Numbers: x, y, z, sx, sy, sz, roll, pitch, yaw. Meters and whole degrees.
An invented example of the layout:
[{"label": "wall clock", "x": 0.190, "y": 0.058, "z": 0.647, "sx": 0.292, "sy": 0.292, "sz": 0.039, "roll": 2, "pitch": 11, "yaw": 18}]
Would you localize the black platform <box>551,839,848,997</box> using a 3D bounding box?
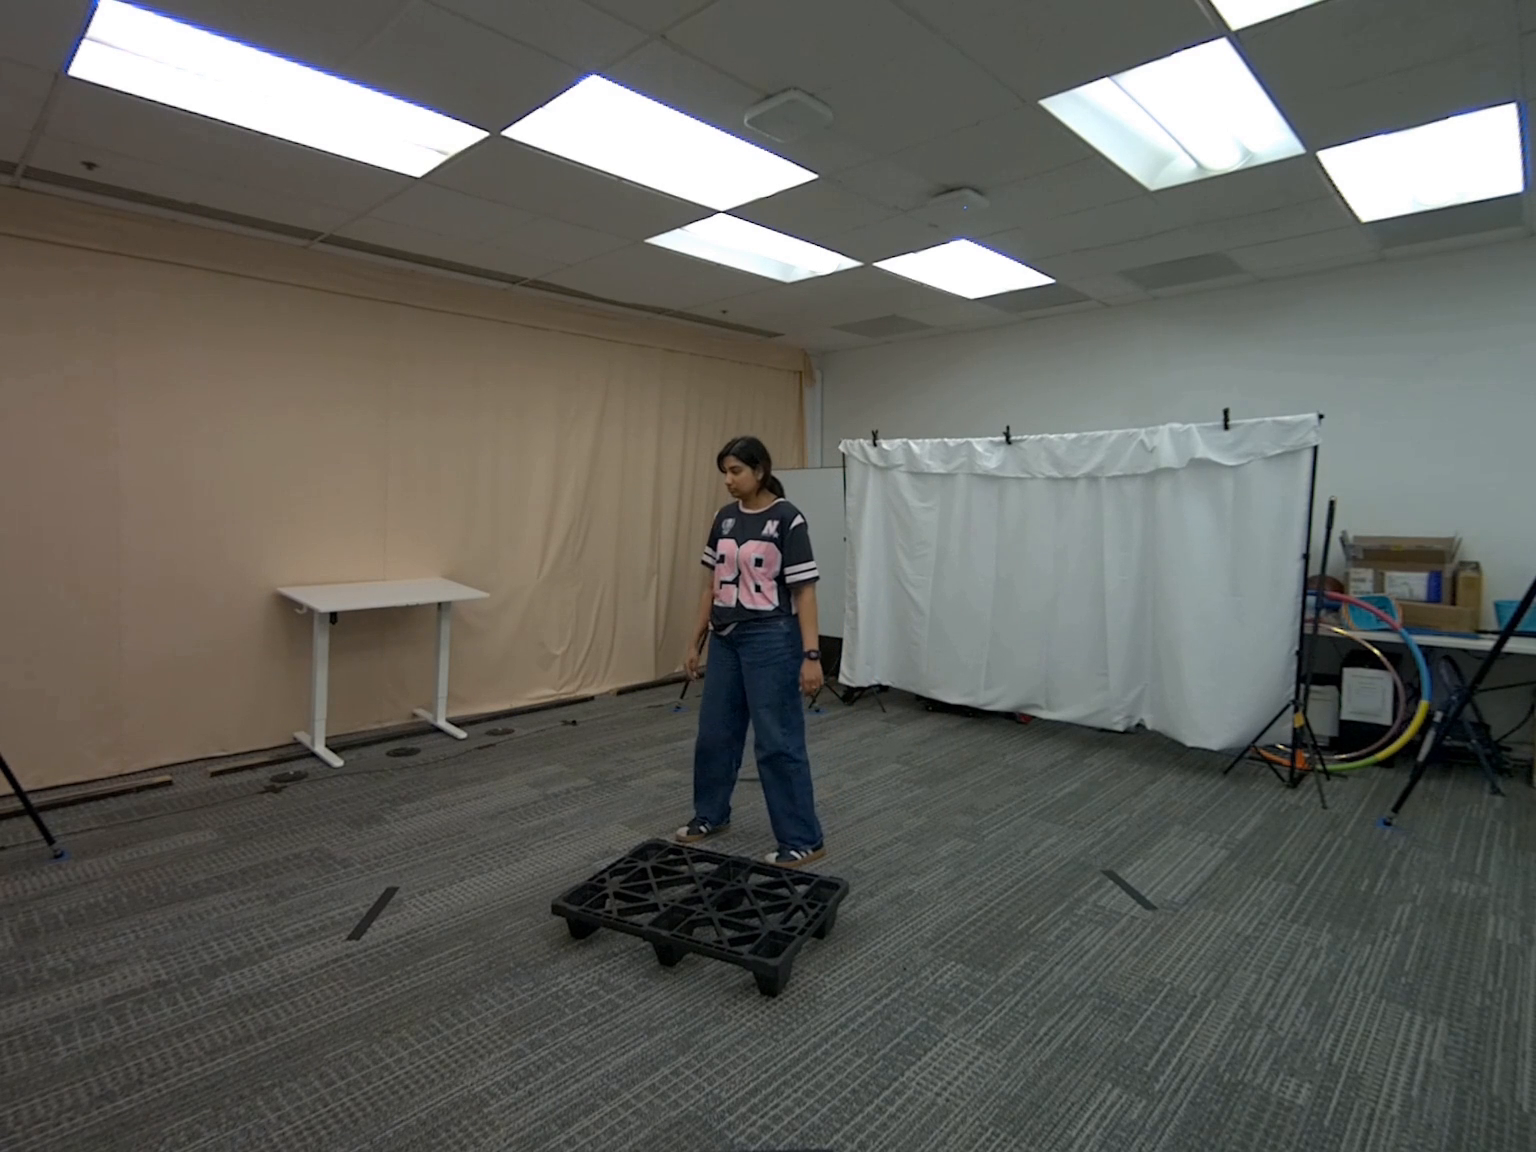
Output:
[{"label": "black platform", "x": -0.212, "y": 1.094, "z": 2.759, "sx": 0.828, "sy": 0.143, "sz": 0.590, "roll": 2, "pitch": 5, "yaw": 27}]
